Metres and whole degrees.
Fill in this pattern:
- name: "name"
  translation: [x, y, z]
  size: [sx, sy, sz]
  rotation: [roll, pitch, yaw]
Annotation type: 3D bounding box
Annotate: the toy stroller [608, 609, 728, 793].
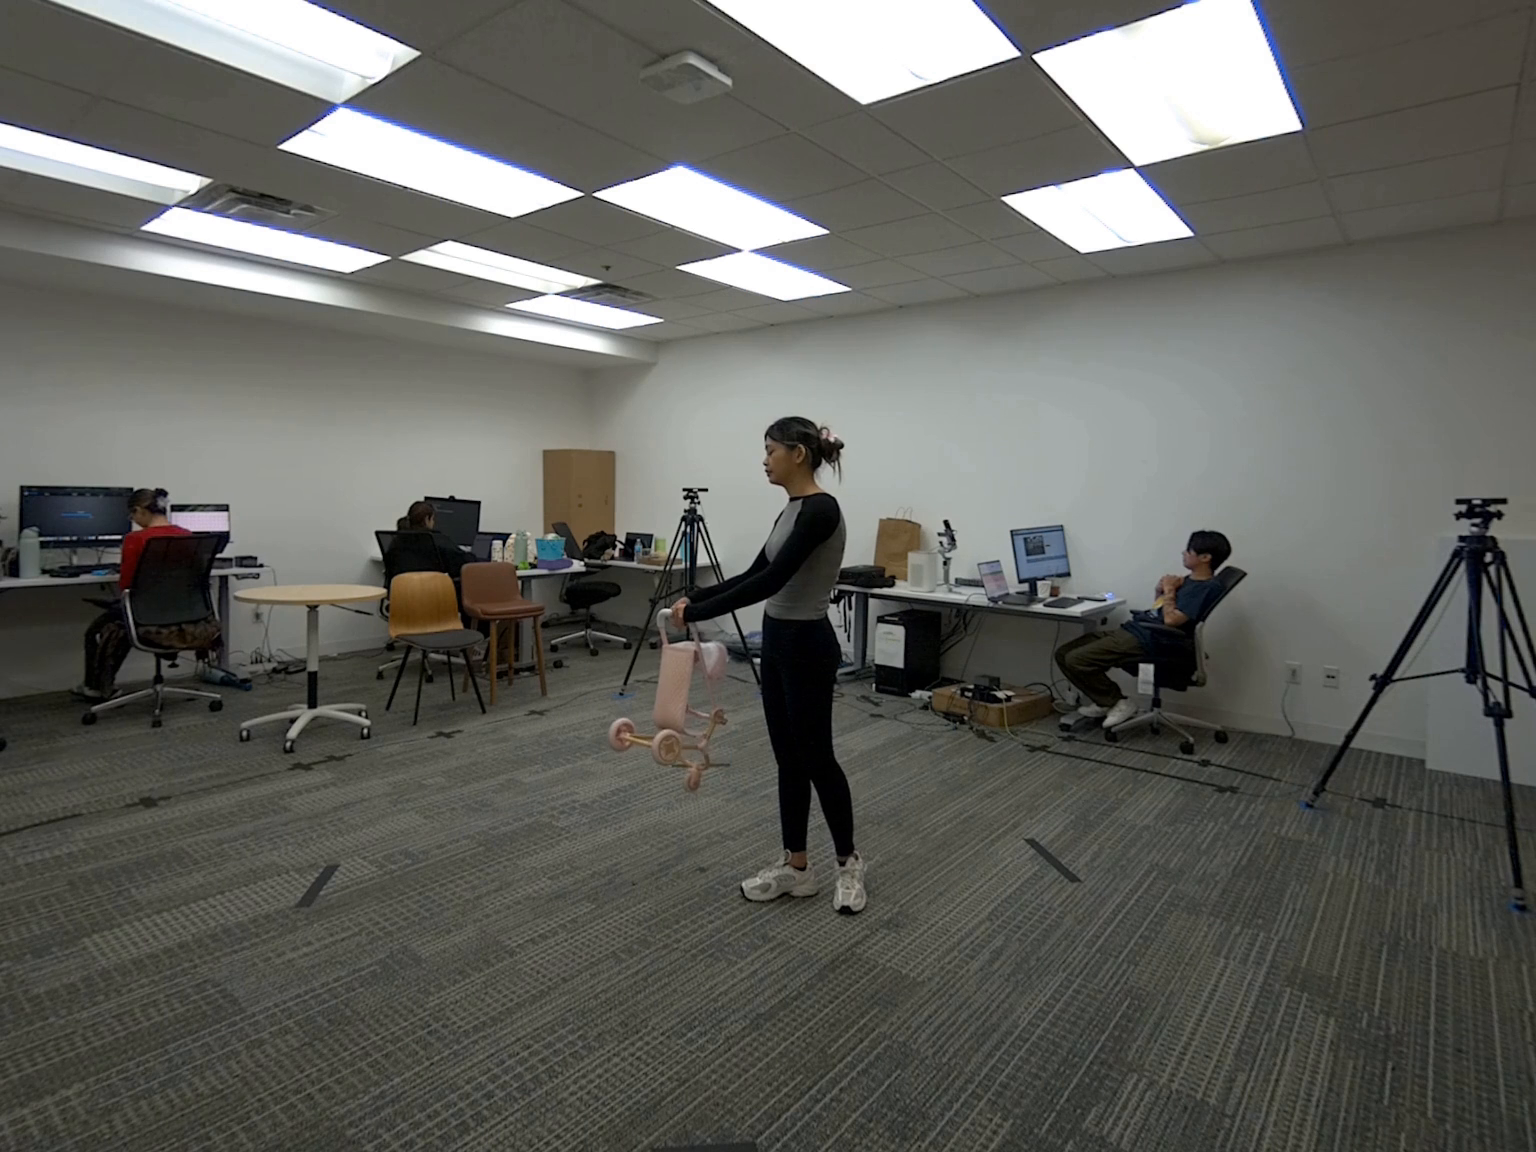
- name: "toy stroller"
  translation: [-0.291, 0.427, 2.829]
  size: [0.328, 0.540, 0.289]
  rotation: [27, -18, -34]
